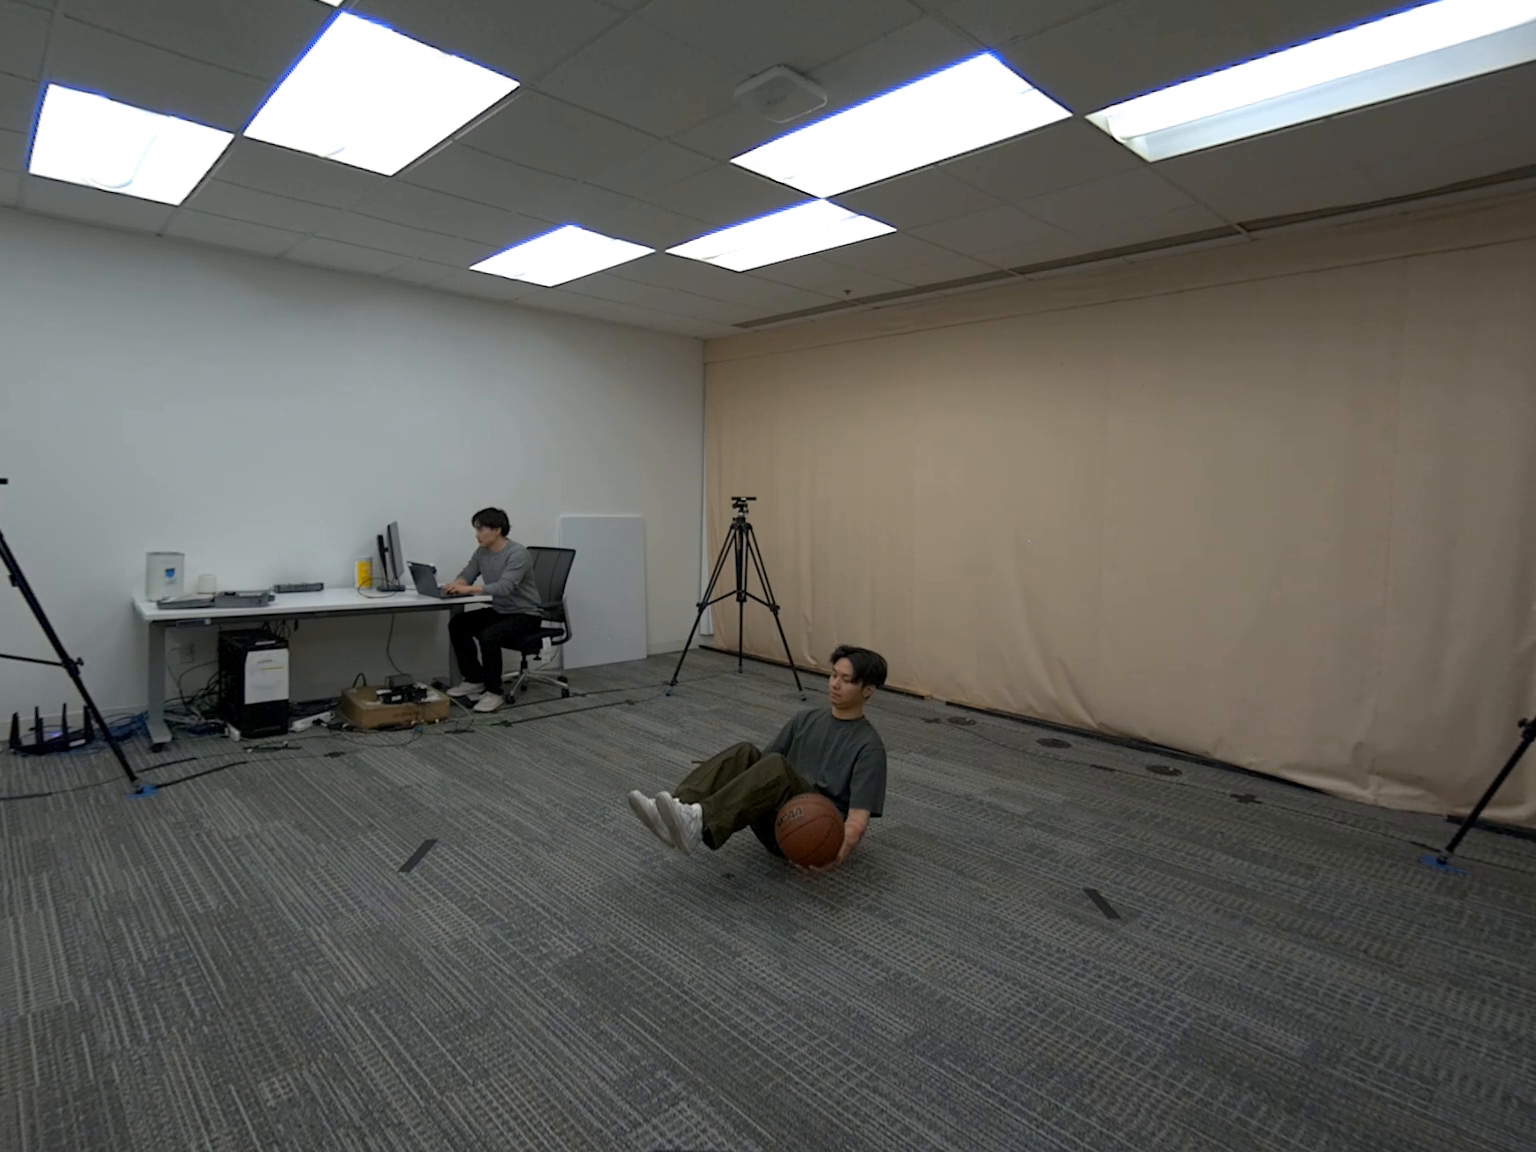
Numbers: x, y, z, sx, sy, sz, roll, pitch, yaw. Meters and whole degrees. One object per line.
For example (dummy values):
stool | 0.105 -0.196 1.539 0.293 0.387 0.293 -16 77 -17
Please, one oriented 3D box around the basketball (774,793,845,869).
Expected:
basketball | 0.130 0.858 2.884 0.236 0.235 0.237 1 4 -1
